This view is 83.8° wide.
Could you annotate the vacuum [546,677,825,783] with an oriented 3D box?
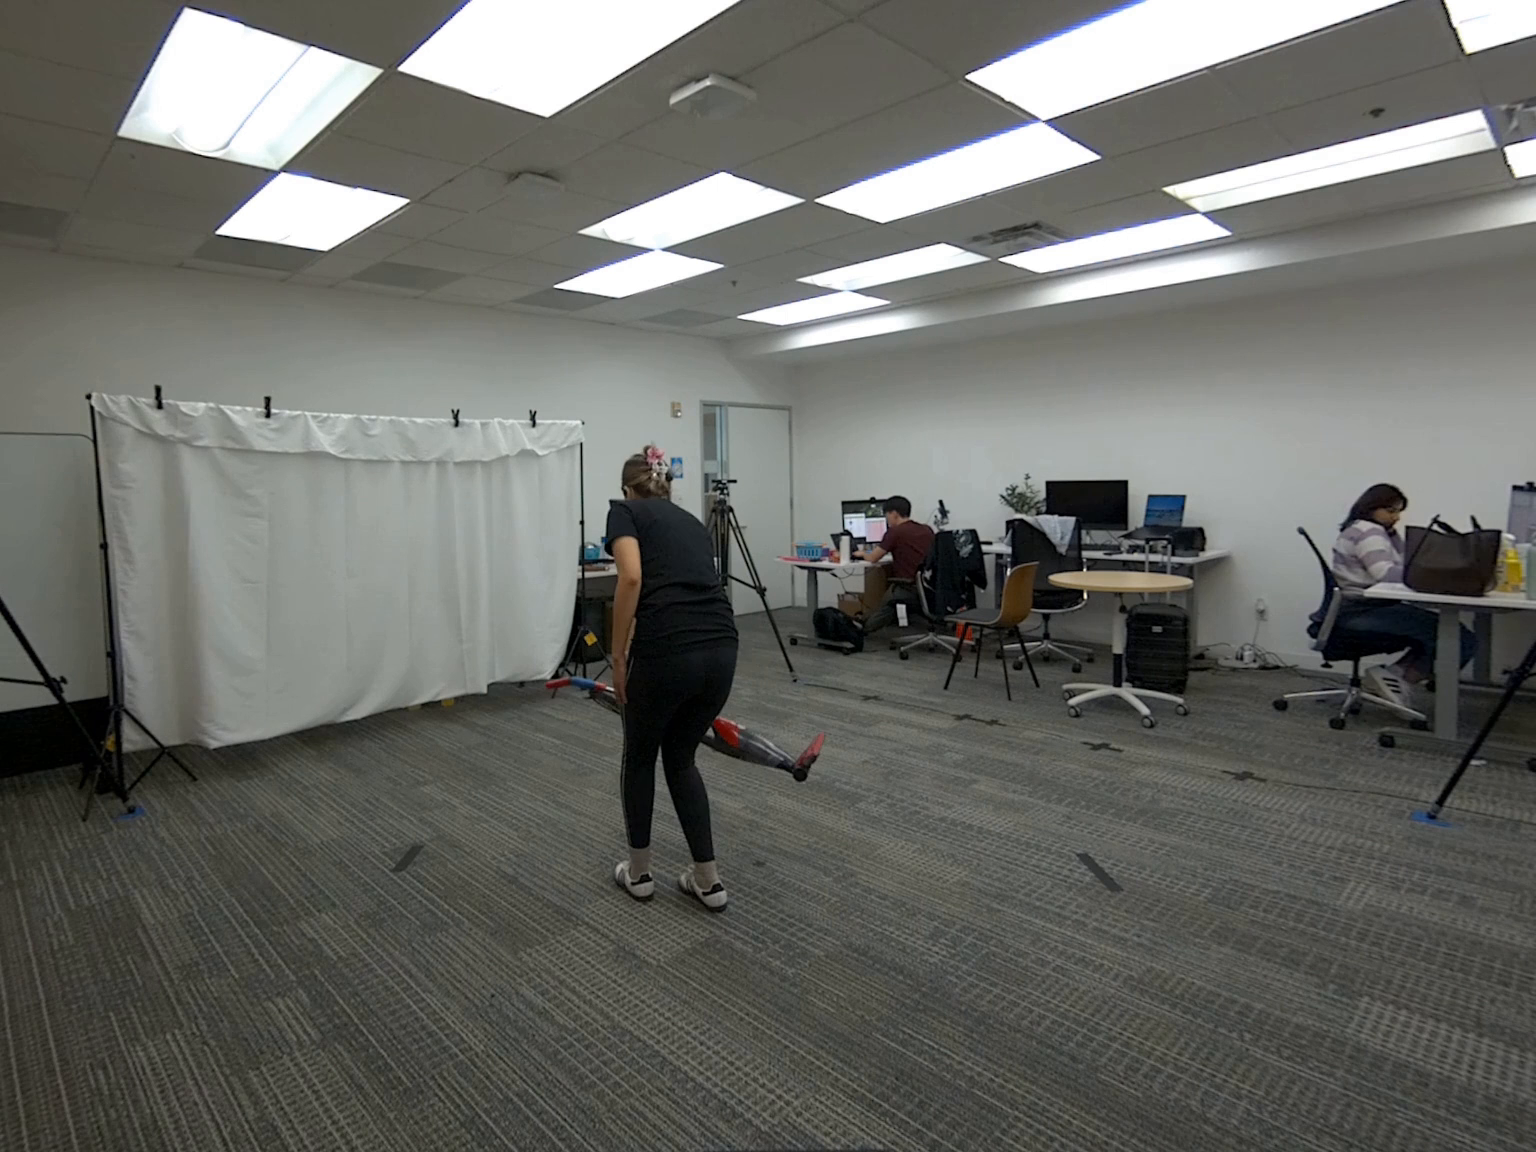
[{"bbox_3d":[-0.339,0.545,3.164,1.065,0.143,0.250,14,9,13],"label":"vacuum"}]
